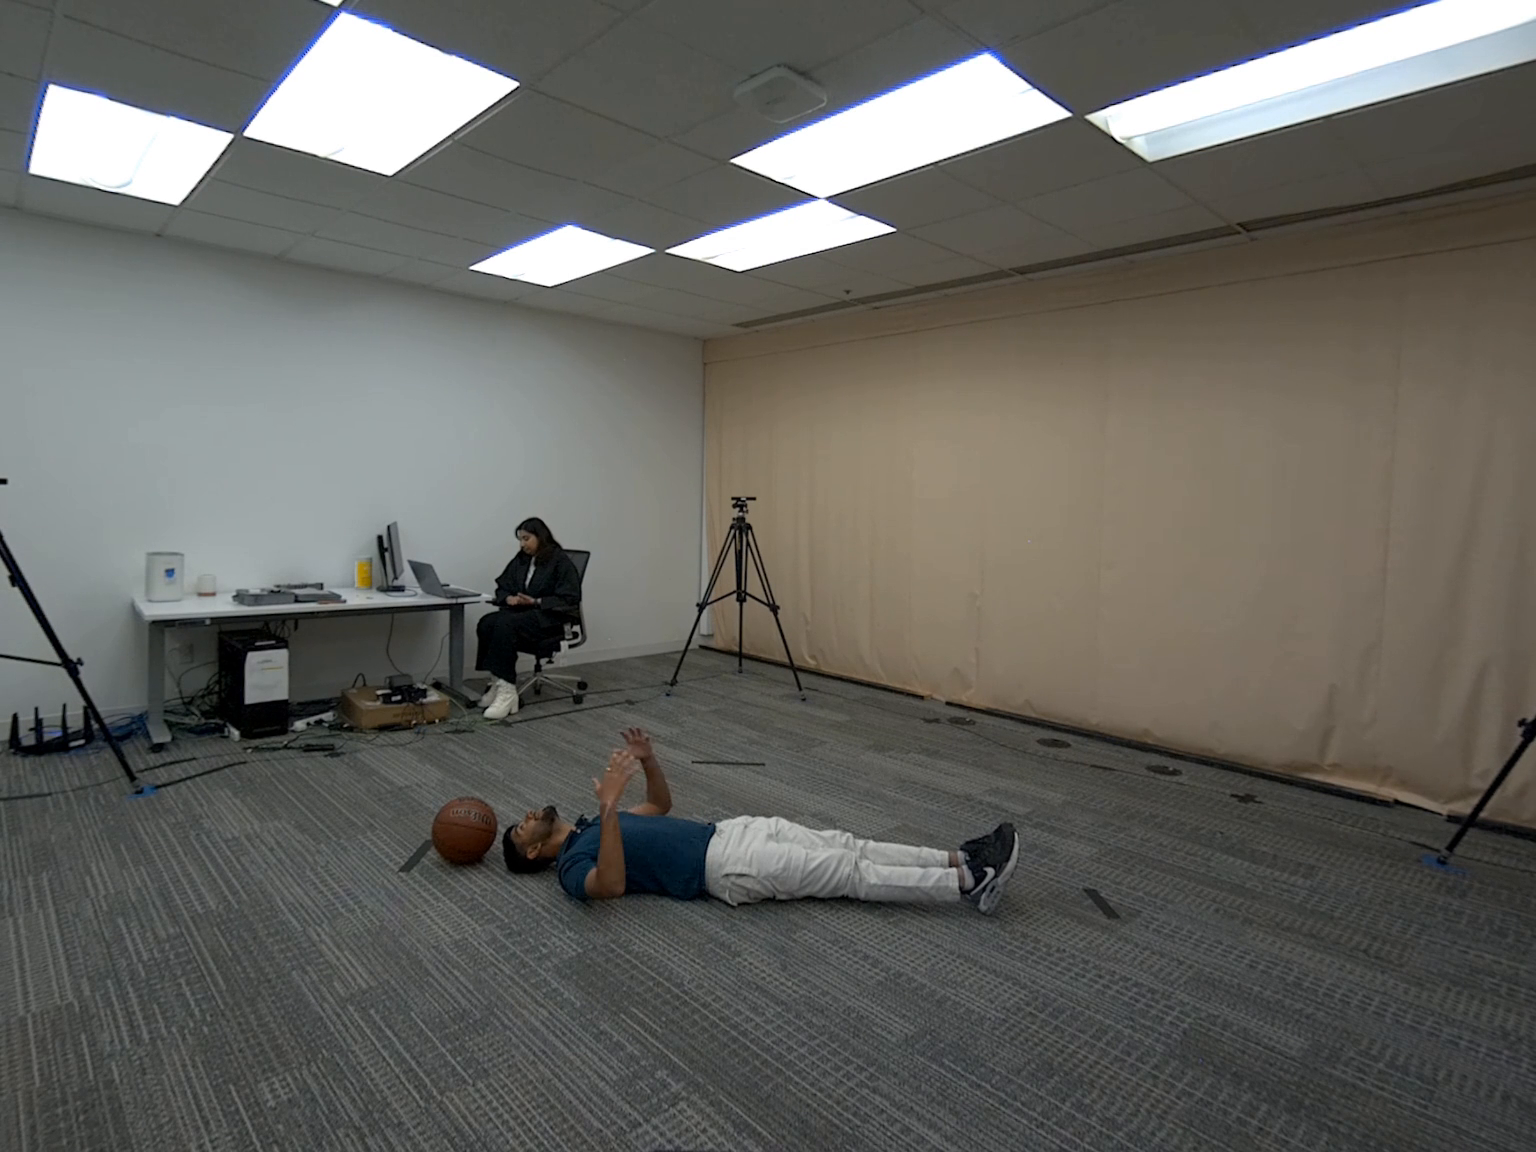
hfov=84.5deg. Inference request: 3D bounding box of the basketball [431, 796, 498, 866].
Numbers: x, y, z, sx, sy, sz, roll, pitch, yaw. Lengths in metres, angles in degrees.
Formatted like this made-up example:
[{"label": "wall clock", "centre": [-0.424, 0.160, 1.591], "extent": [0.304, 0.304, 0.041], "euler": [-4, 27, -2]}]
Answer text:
[{"label": "basketball", "centre": [-1.155, 0.957, 3.179], "extent": [0.236, 0.235, 0.237], "euler": [1, 4, -1]}]
